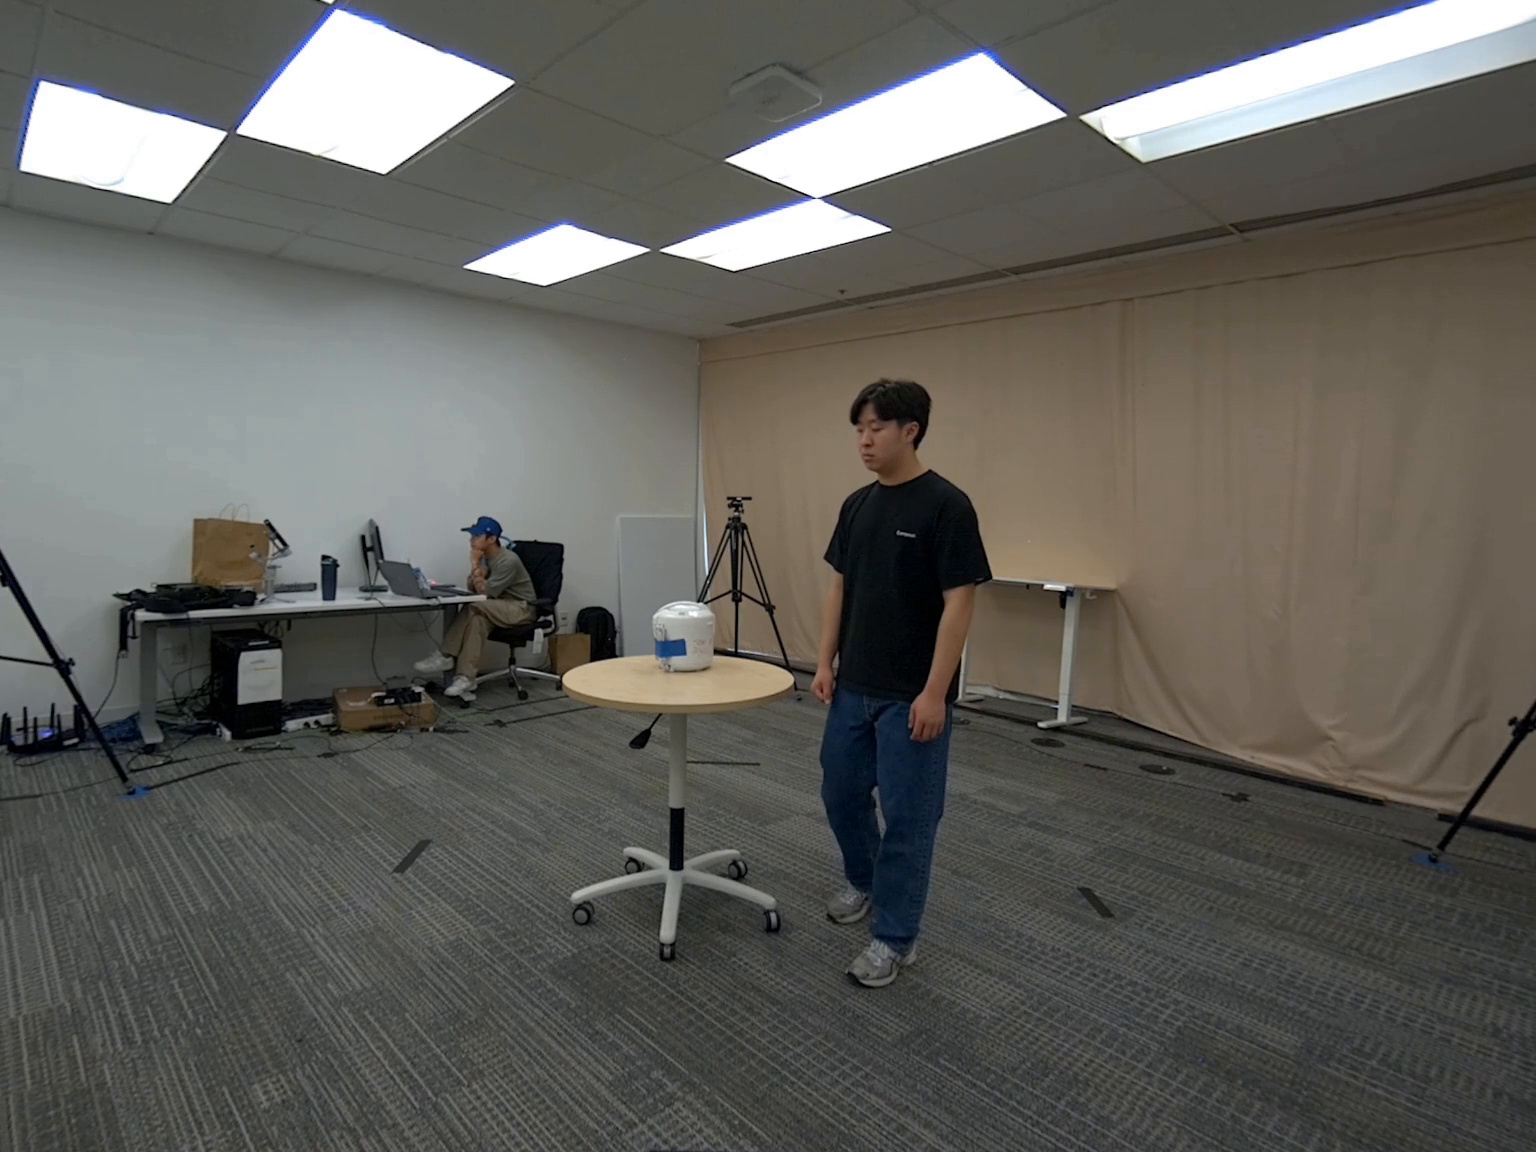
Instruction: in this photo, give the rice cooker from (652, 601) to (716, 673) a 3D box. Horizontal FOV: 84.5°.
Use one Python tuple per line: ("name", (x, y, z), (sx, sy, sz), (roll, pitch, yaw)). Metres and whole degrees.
("rice cooker", (-0.298, 0.203, 2.952), (0.219, 0.232, 0.220), (0, 4, -10))
